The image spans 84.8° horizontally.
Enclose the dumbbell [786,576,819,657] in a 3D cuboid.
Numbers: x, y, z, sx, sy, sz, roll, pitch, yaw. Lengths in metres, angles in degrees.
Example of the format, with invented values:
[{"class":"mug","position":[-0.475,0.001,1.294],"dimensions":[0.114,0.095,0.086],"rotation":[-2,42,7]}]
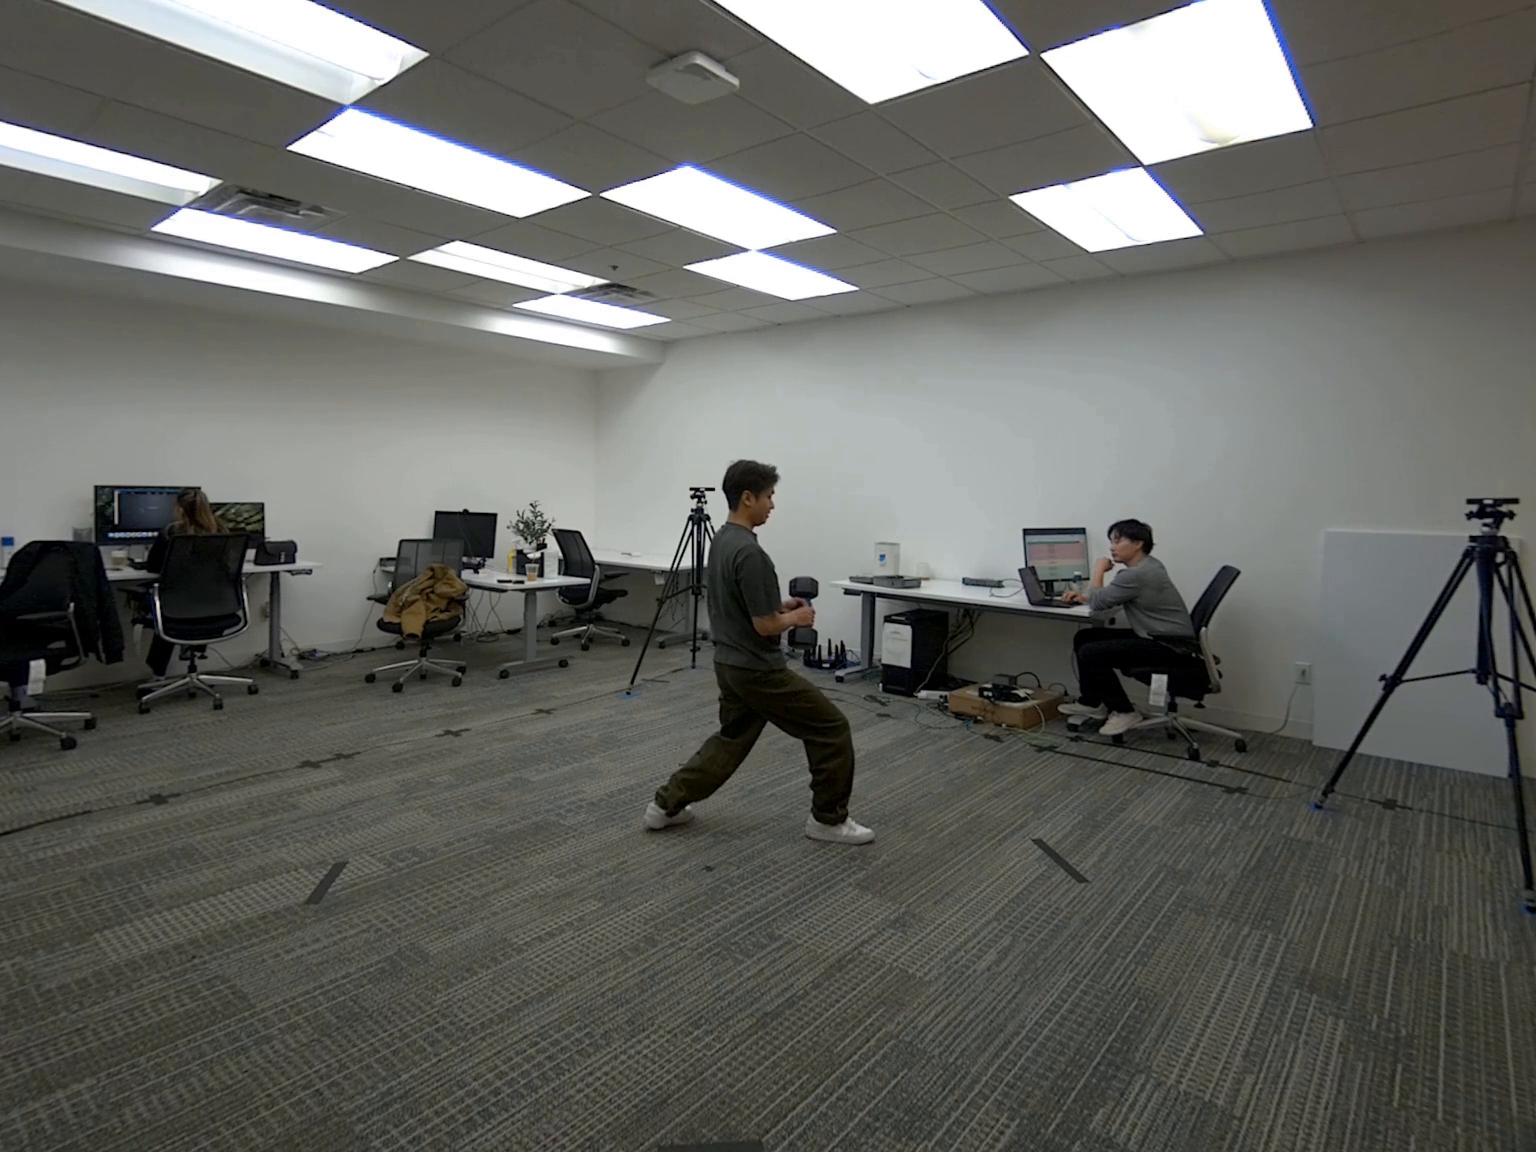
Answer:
[{"class":"dumbbell","position":[0.130,0.152,3.511],"dimensions":[0.111,0.298,0.118],"rotation":[-9,-21,29]}]
